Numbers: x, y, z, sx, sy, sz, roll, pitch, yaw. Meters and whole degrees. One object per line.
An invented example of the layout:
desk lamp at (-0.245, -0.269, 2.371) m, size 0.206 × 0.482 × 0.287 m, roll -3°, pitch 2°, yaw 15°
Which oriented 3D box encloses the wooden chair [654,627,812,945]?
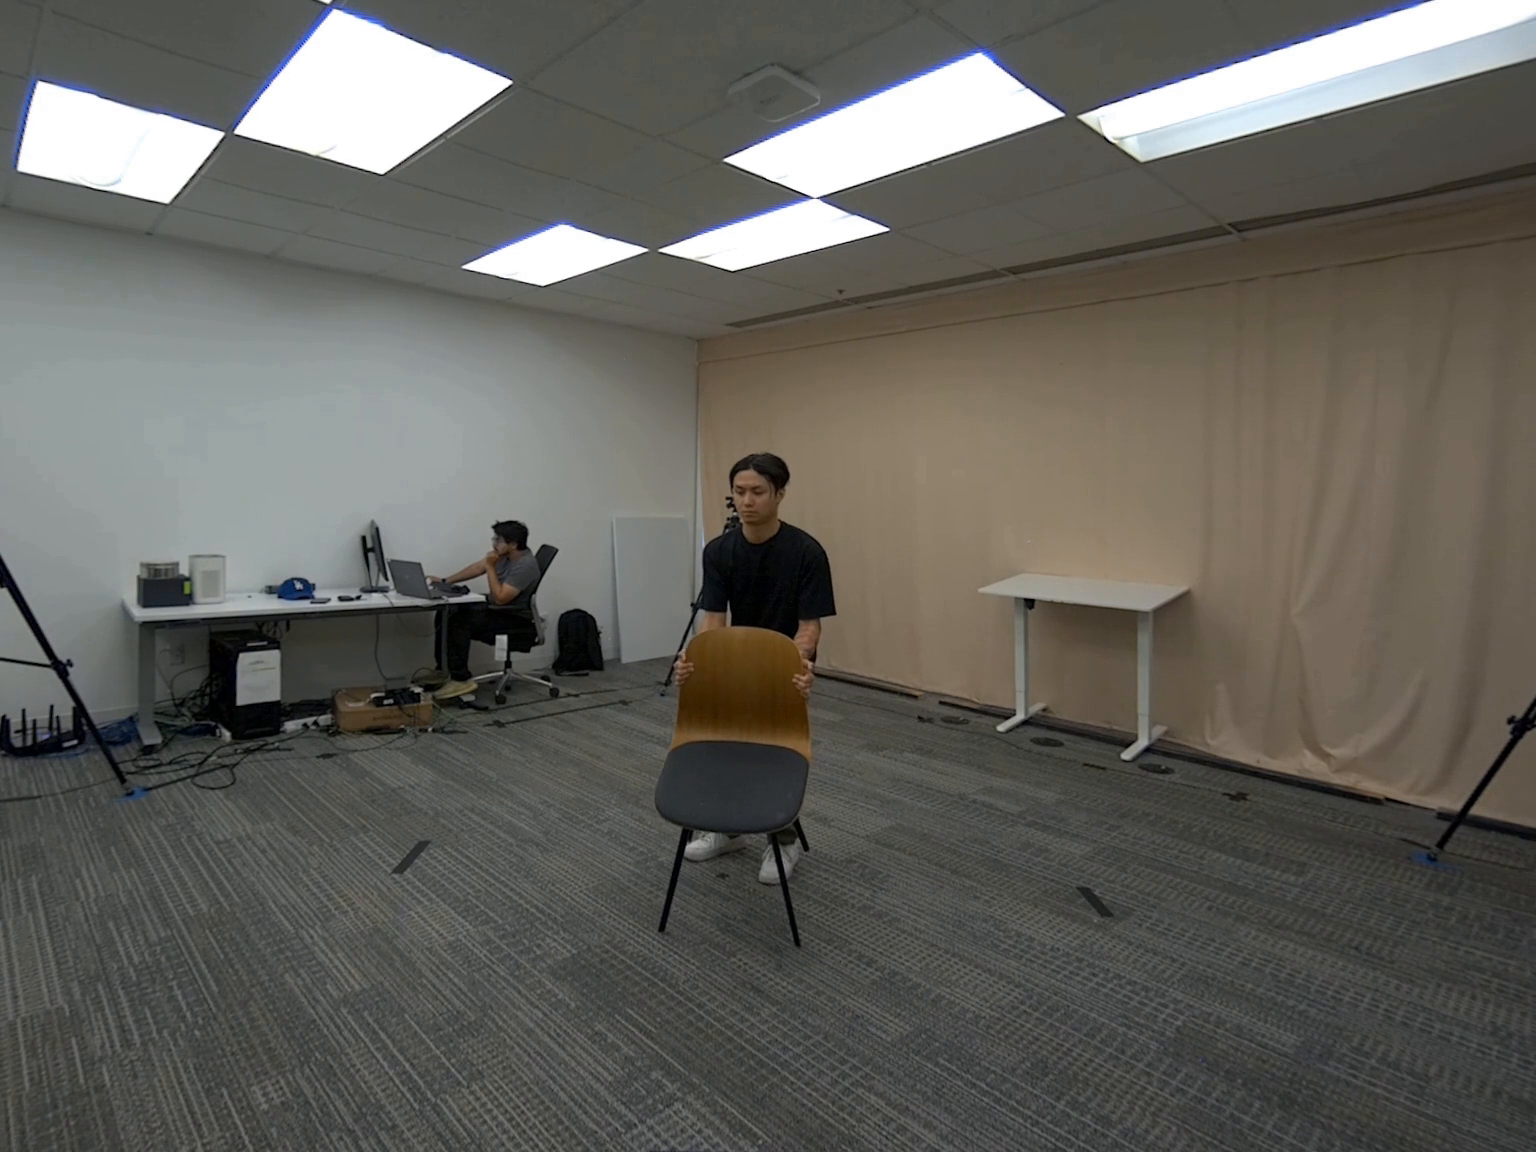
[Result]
wooden chair at (-0.115, 0.670, 2.706) m, size 0.482 × 0.867 × 0.525 m, roll 3°, pitch 16°, yaw 9°
